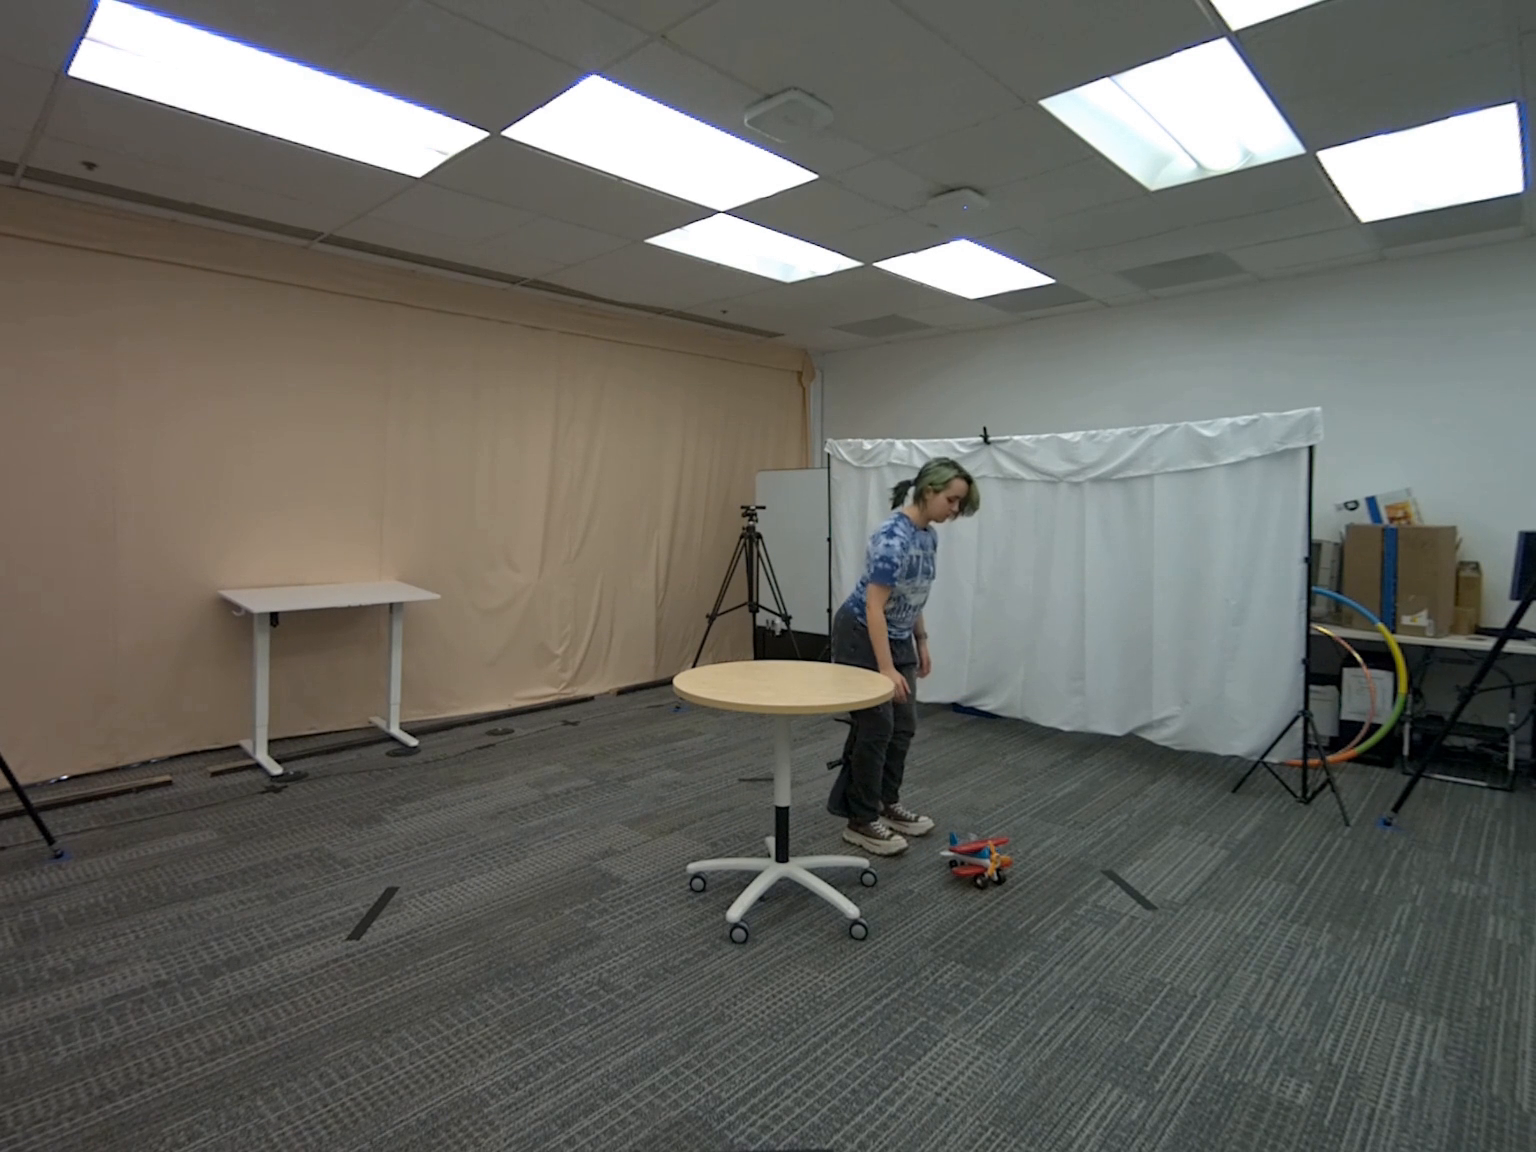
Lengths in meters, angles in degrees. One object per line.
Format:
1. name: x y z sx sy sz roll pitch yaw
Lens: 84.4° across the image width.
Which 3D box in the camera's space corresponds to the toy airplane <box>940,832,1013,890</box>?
1. toy airplane: 0.761 1.053 3.138 0.267 0.156 0.244 4 6 35
